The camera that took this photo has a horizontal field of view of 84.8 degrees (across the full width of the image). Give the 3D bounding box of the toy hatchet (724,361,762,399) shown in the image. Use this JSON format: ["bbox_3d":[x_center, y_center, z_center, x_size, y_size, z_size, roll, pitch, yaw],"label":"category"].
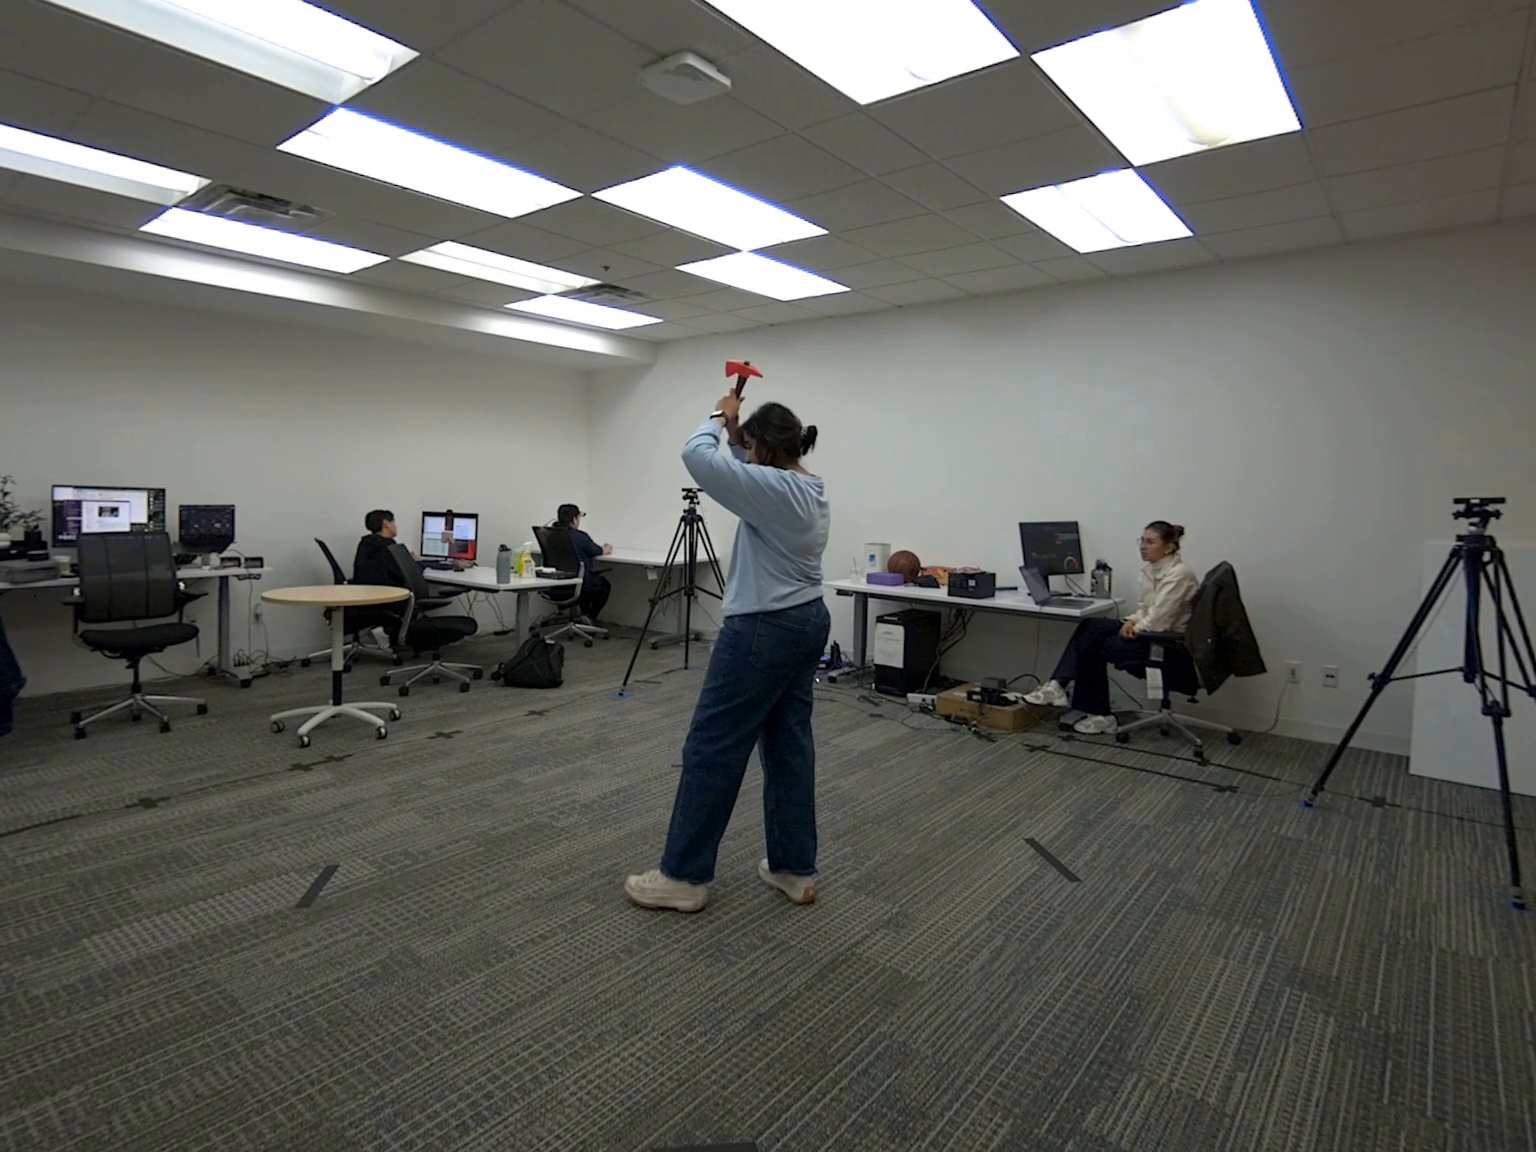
[{"bbox_3d":[-0.152,-0.650,2.957,0.129,0.270,0.030,40,31,-9],"label":"toy hatchet"}]
